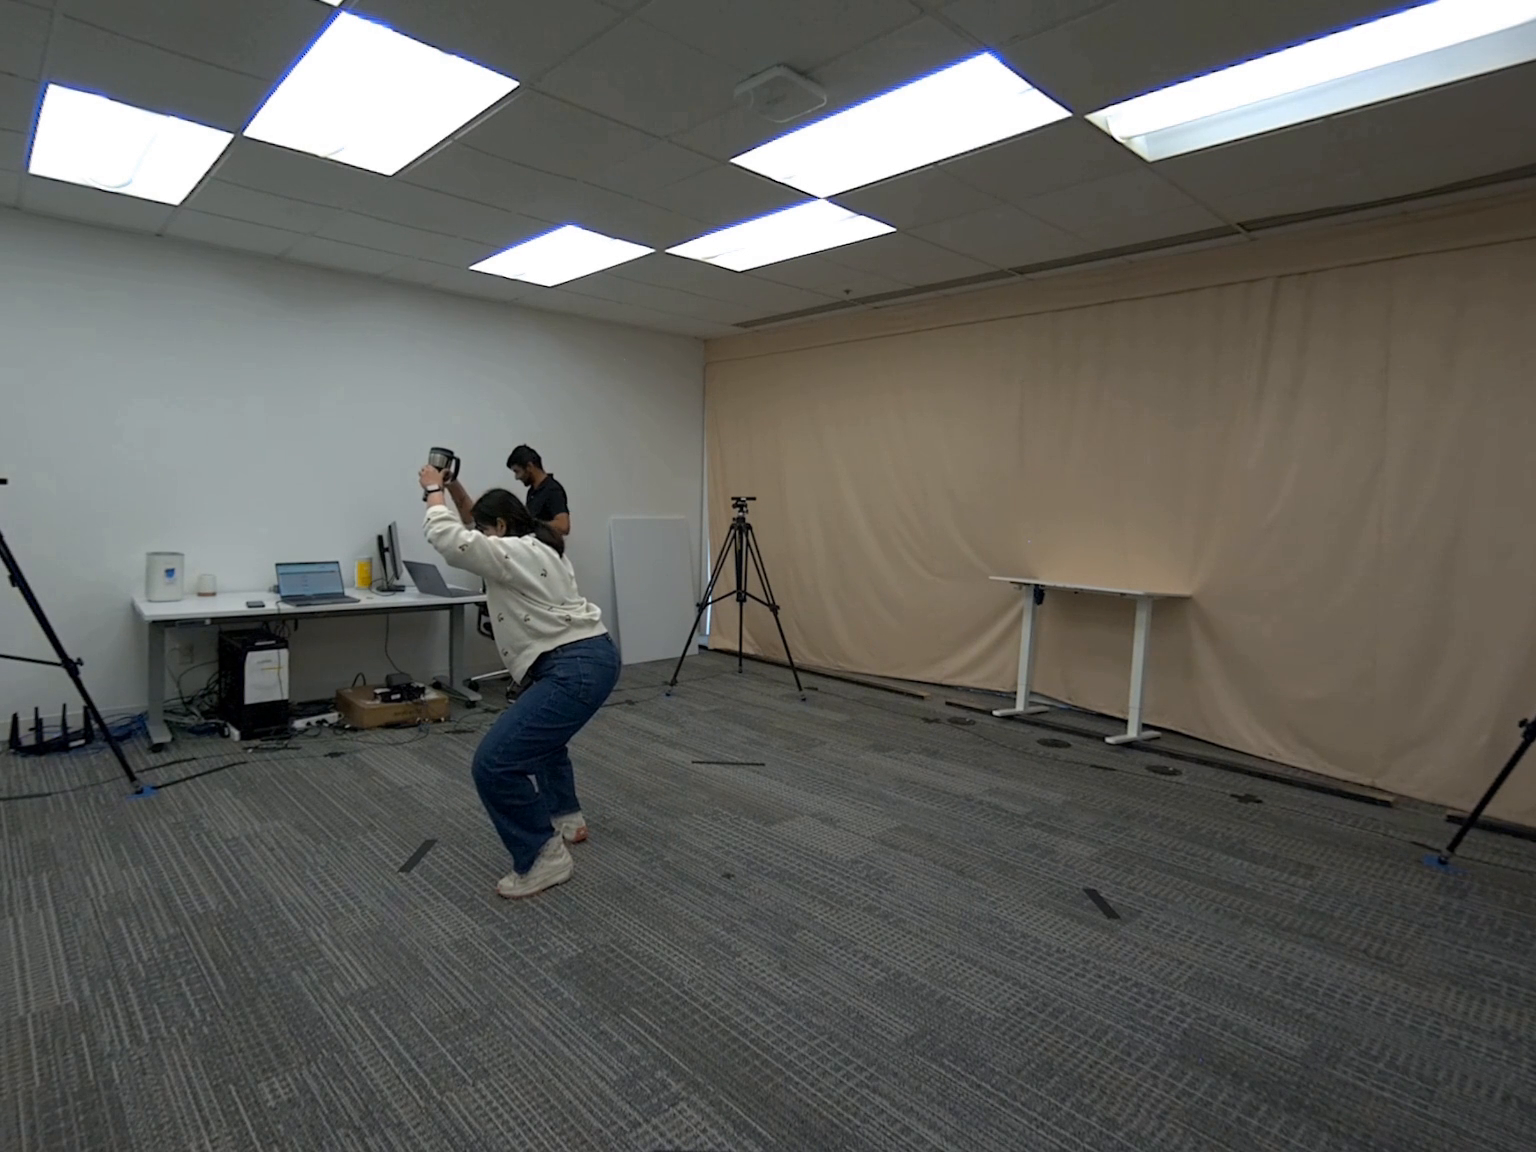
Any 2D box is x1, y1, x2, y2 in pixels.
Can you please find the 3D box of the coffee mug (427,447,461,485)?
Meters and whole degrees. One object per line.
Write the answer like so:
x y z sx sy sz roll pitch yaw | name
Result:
-1.262 -0.376 3.152 0.120 0.203 0.089 14 -5 -13 | coffee mug
